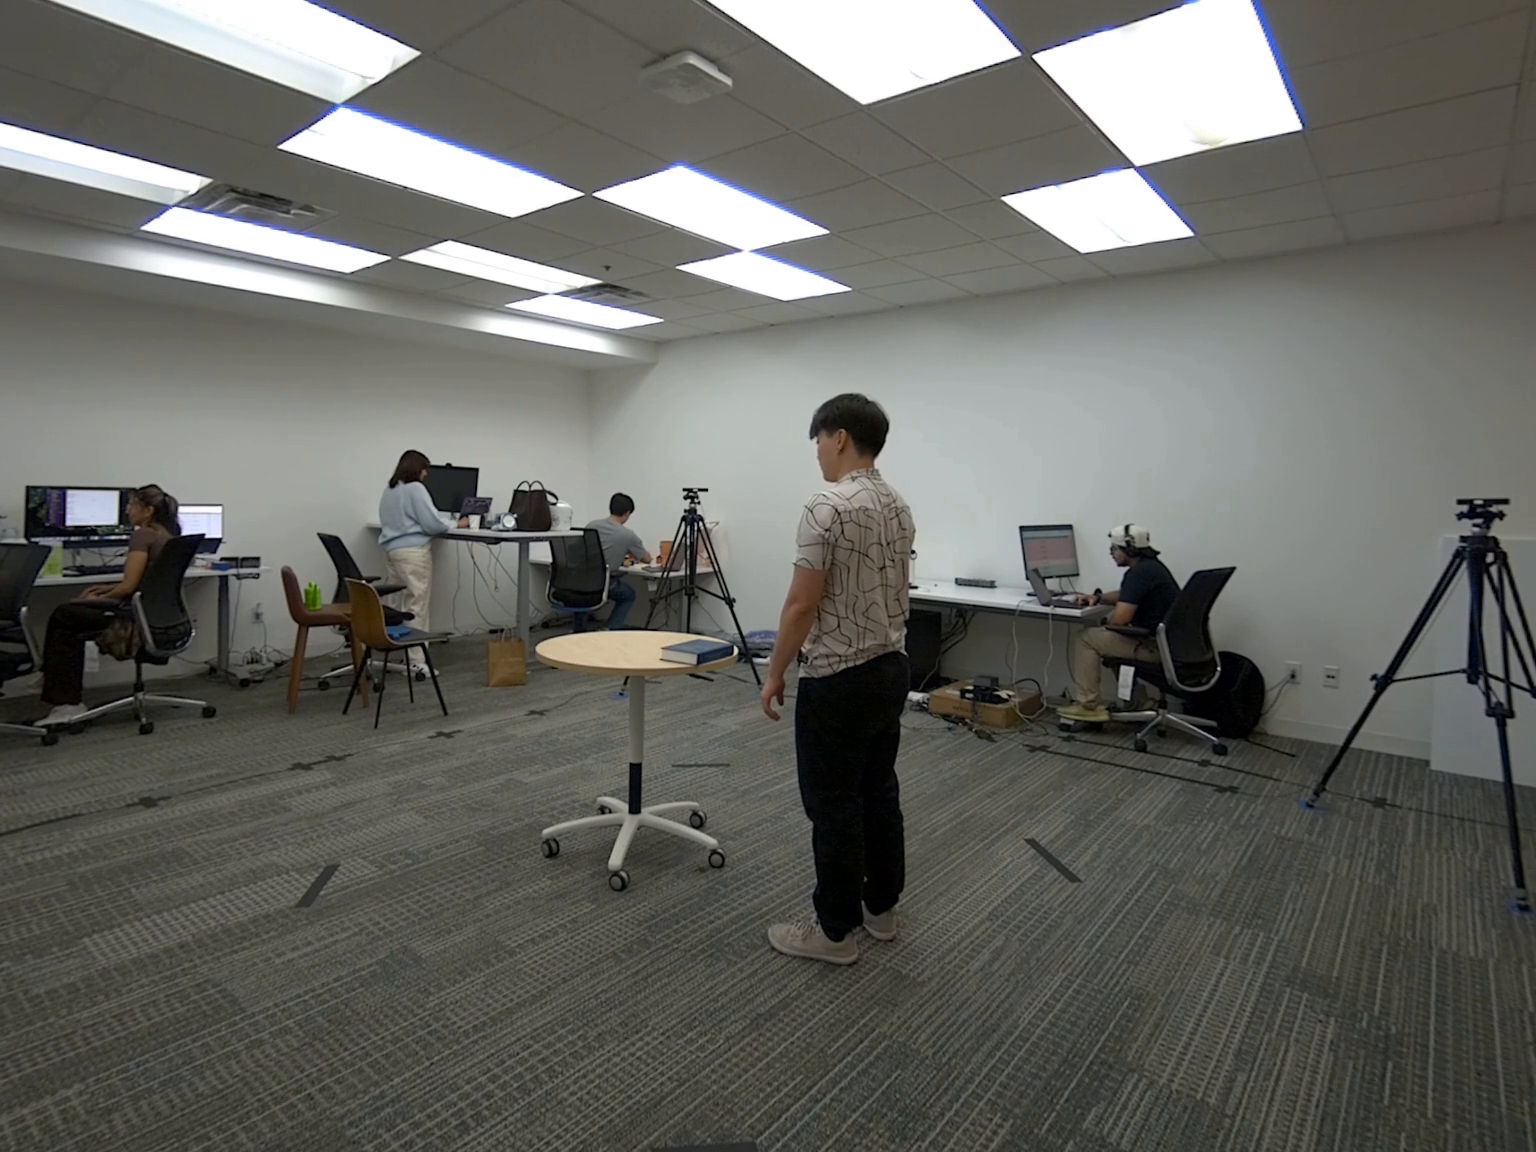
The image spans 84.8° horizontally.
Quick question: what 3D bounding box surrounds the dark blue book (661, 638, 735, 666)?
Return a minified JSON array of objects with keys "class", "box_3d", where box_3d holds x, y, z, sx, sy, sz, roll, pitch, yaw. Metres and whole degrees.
[{"class":"dark blue book","box_3d":[-0.263,0.272,3.077,0.168,0.045,0.239,5,6,31]}]
